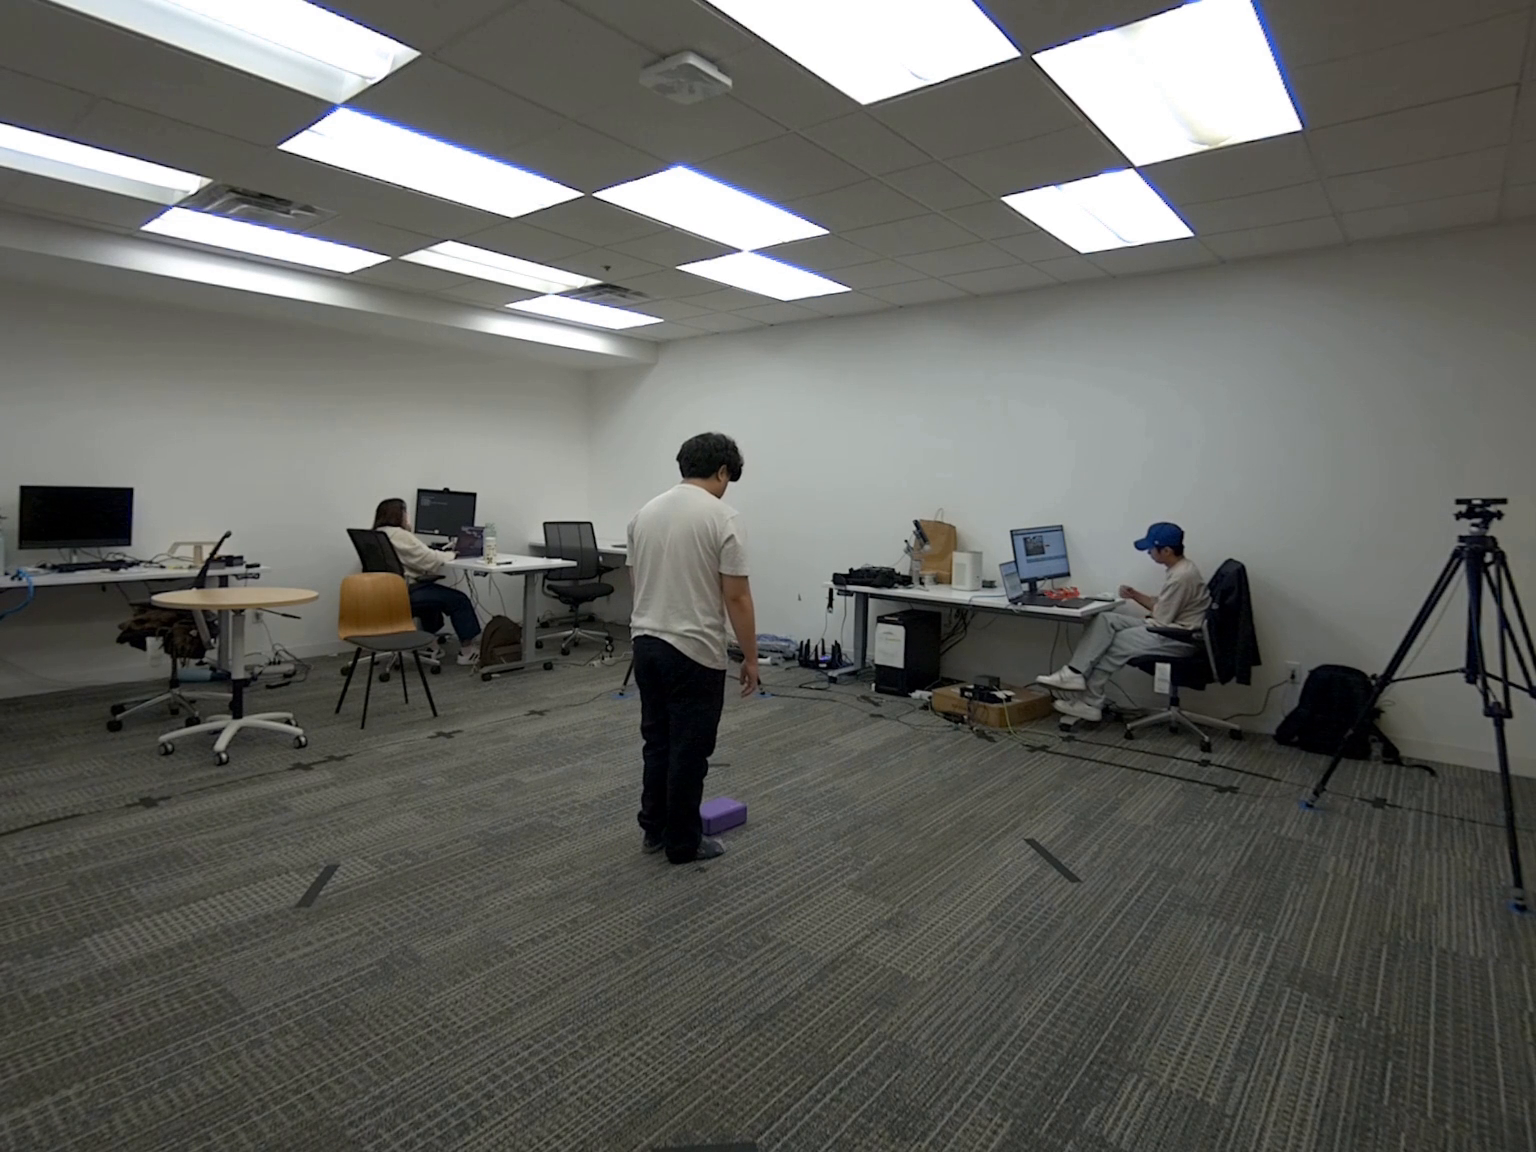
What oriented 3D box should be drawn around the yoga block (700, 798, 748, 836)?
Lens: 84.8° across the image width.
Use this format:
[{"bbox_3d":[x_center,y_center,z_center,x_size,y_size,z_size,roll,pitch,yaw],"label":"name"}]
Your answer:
[{"bbox_3d":[-0.225,0.990,3.527,0.154,0.076,0.222,5,6,43],"label":"yoga block"}]
